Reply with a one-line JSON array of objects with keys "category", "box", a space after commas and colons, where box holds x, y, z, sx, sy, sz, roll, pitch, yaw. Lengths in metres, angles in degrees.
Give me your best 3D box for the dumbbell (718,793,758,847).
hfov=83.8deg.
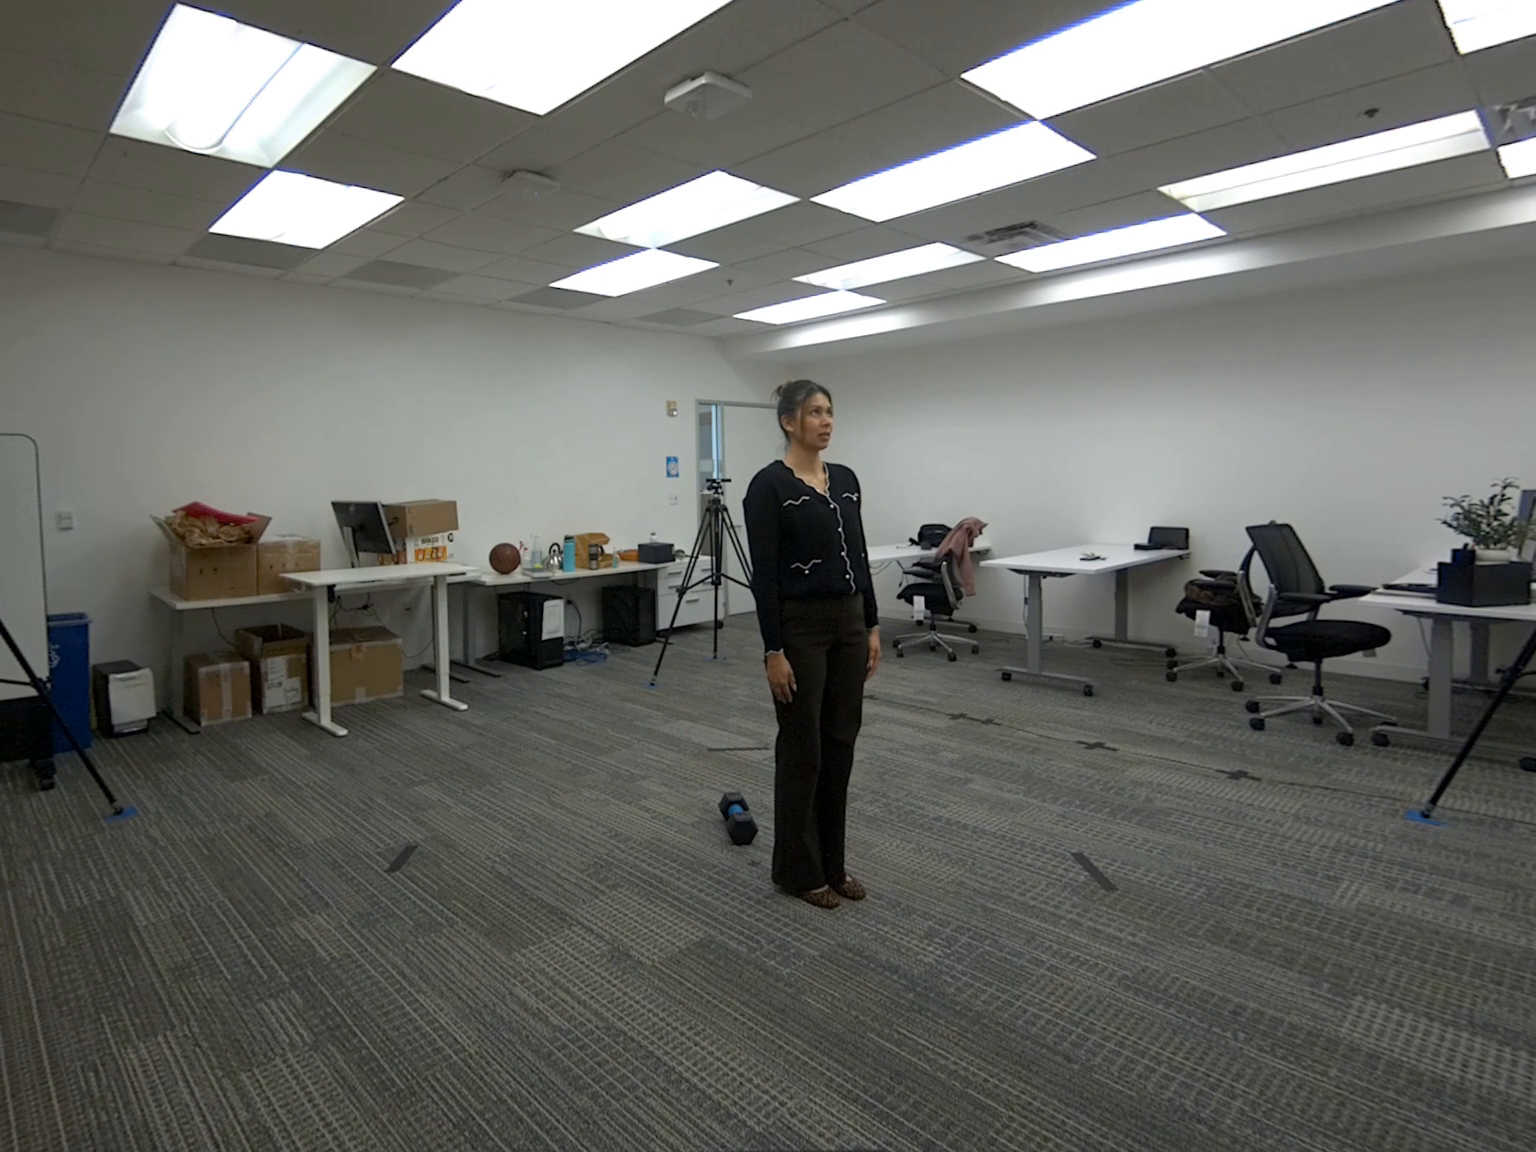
[{"category": "dumbbell", "box": [-0.121, 0.962, 3.398, 0.108, 0.121, 0.297, -31, 10, -6]}]
